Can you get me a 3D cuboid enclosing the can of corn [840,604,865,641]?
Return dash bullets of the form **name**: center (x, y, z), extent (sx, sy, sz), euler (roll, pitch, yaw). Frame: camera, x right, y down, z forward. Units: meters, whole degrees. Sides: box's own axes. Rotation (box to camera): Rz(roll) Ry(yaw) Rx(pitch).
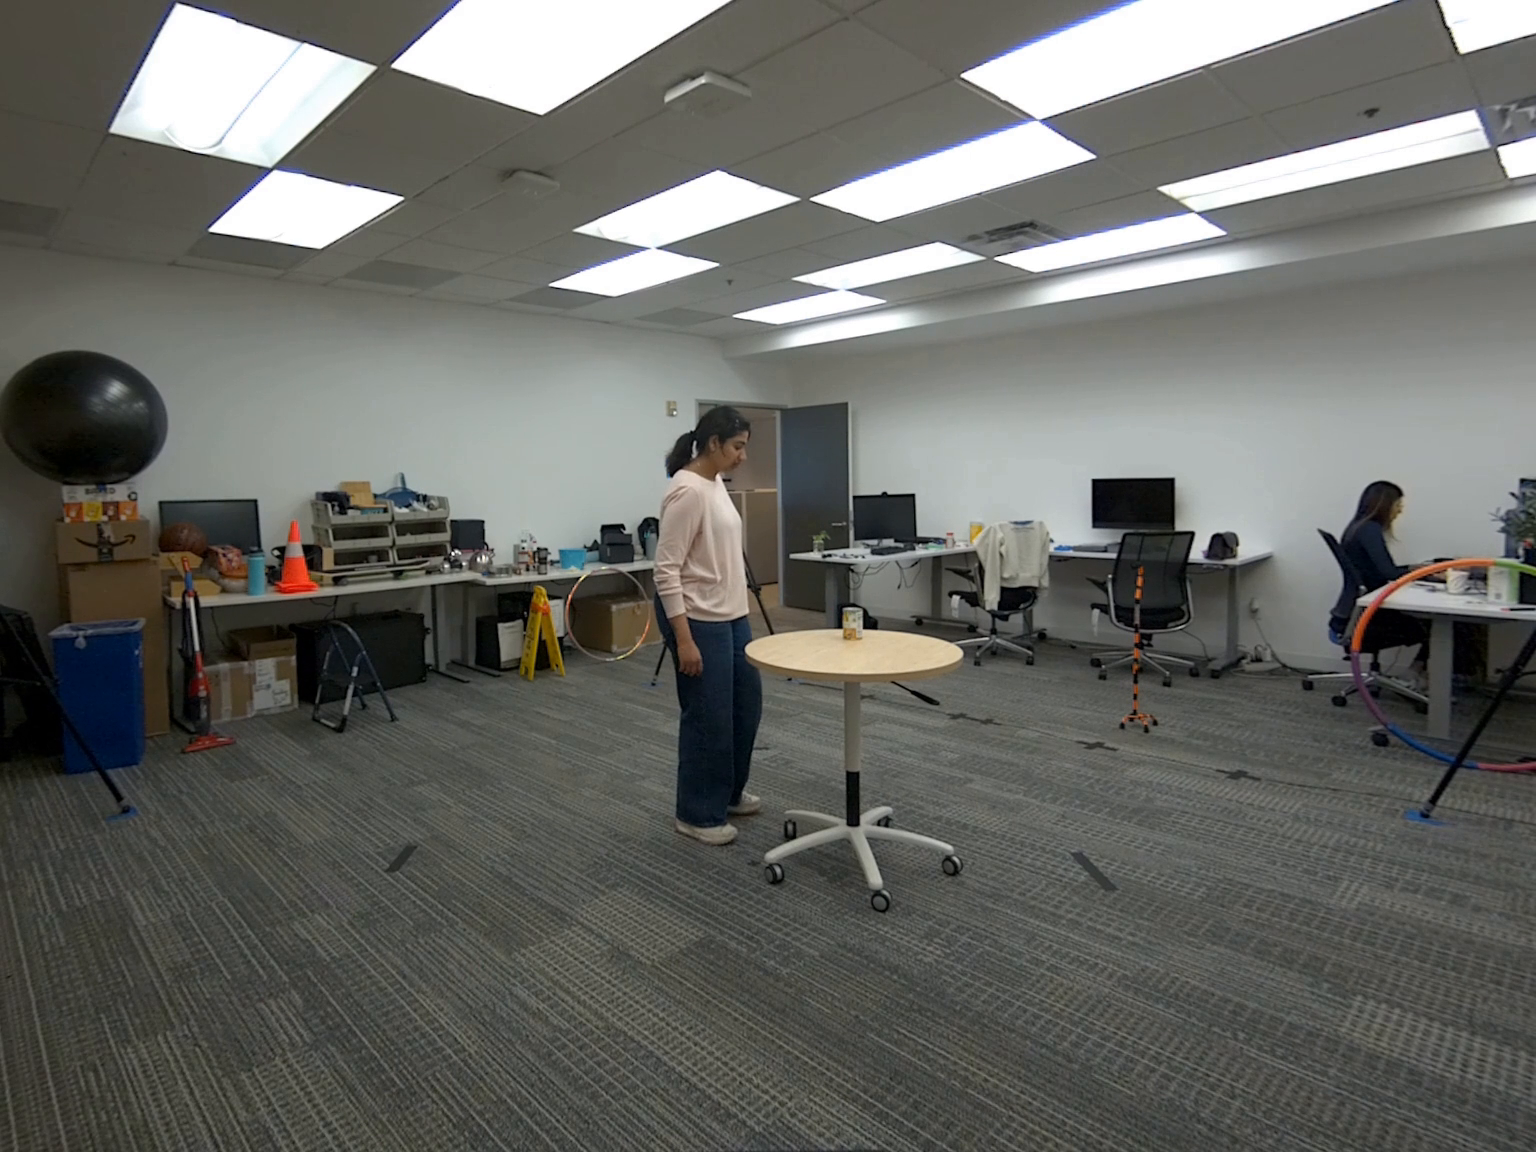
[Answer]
- **can of corn**: center (0.315, 0.184, 3.230), extent (0.074, 0.110, 0.074), euler (0, 4, -2)
